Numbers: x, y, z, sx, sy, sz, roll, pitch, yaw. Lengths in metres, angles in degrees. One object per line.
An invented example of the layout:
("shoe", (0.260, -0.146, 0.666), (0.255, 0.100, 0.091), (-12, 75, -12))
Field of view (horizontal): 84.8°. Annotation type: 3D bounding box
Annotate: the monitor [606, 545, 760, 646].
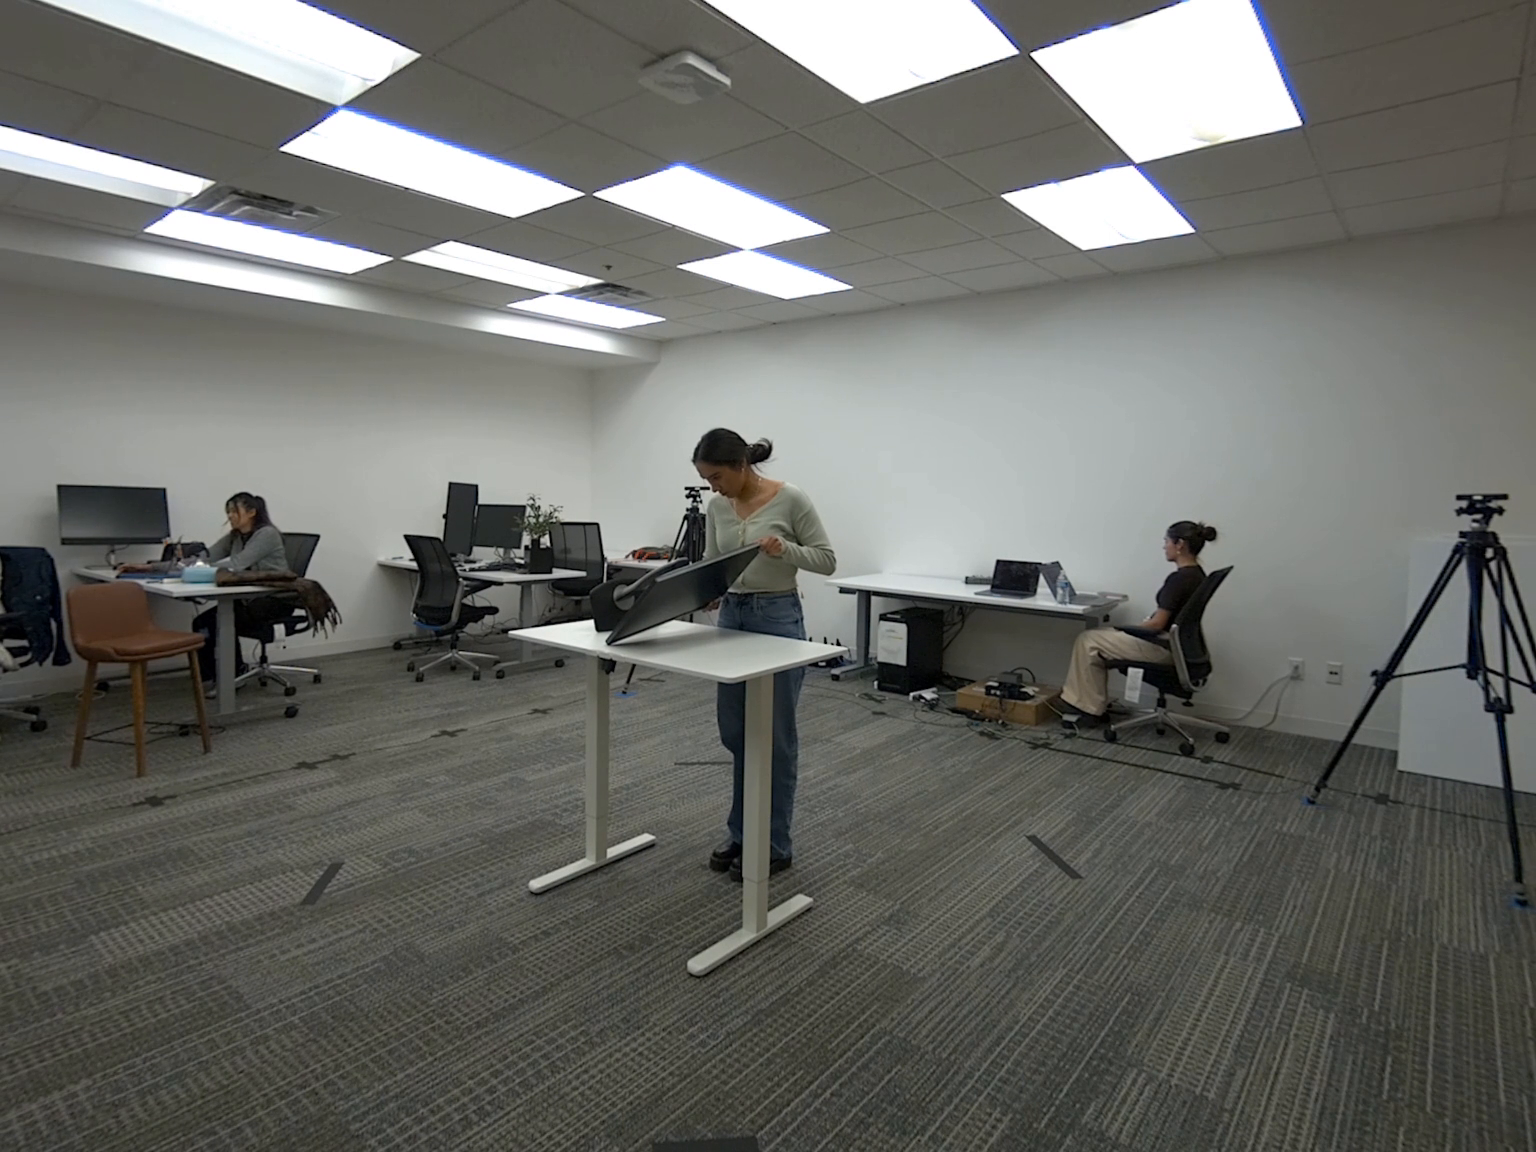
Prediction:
("monitor", (-0.396, 0.040, 2.855), (0.532, 0.187, 0.529), (-20, 3, 41))
